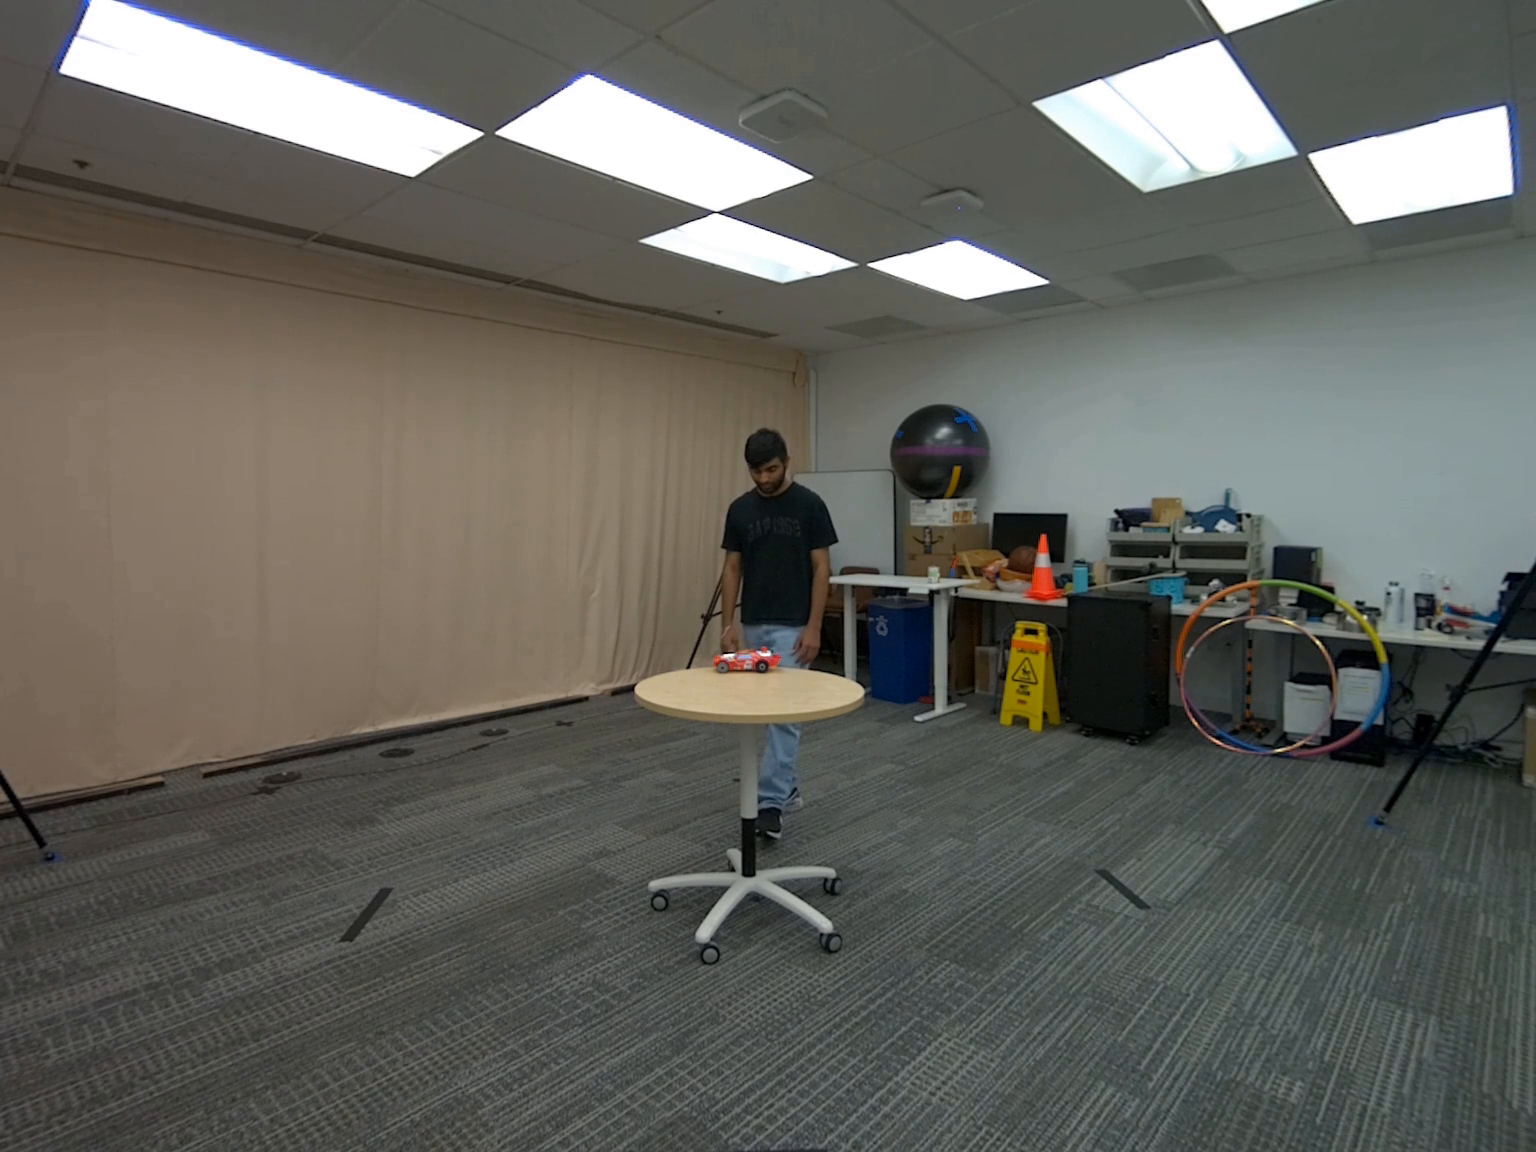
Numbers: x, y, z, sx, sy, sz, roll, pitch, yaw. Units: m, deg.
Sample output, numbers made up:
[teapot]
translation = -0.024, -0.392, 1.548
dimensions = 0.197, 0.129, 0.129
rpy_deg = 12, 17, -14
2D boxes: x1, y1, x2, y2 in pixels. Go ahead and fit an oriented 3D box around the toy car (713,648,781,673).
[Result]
[toy car]
translation = -0.074, 0.320, 3.125
dimensions = 0.255, 0.083, 0.131
rpy_deg = -11, 5, 0
